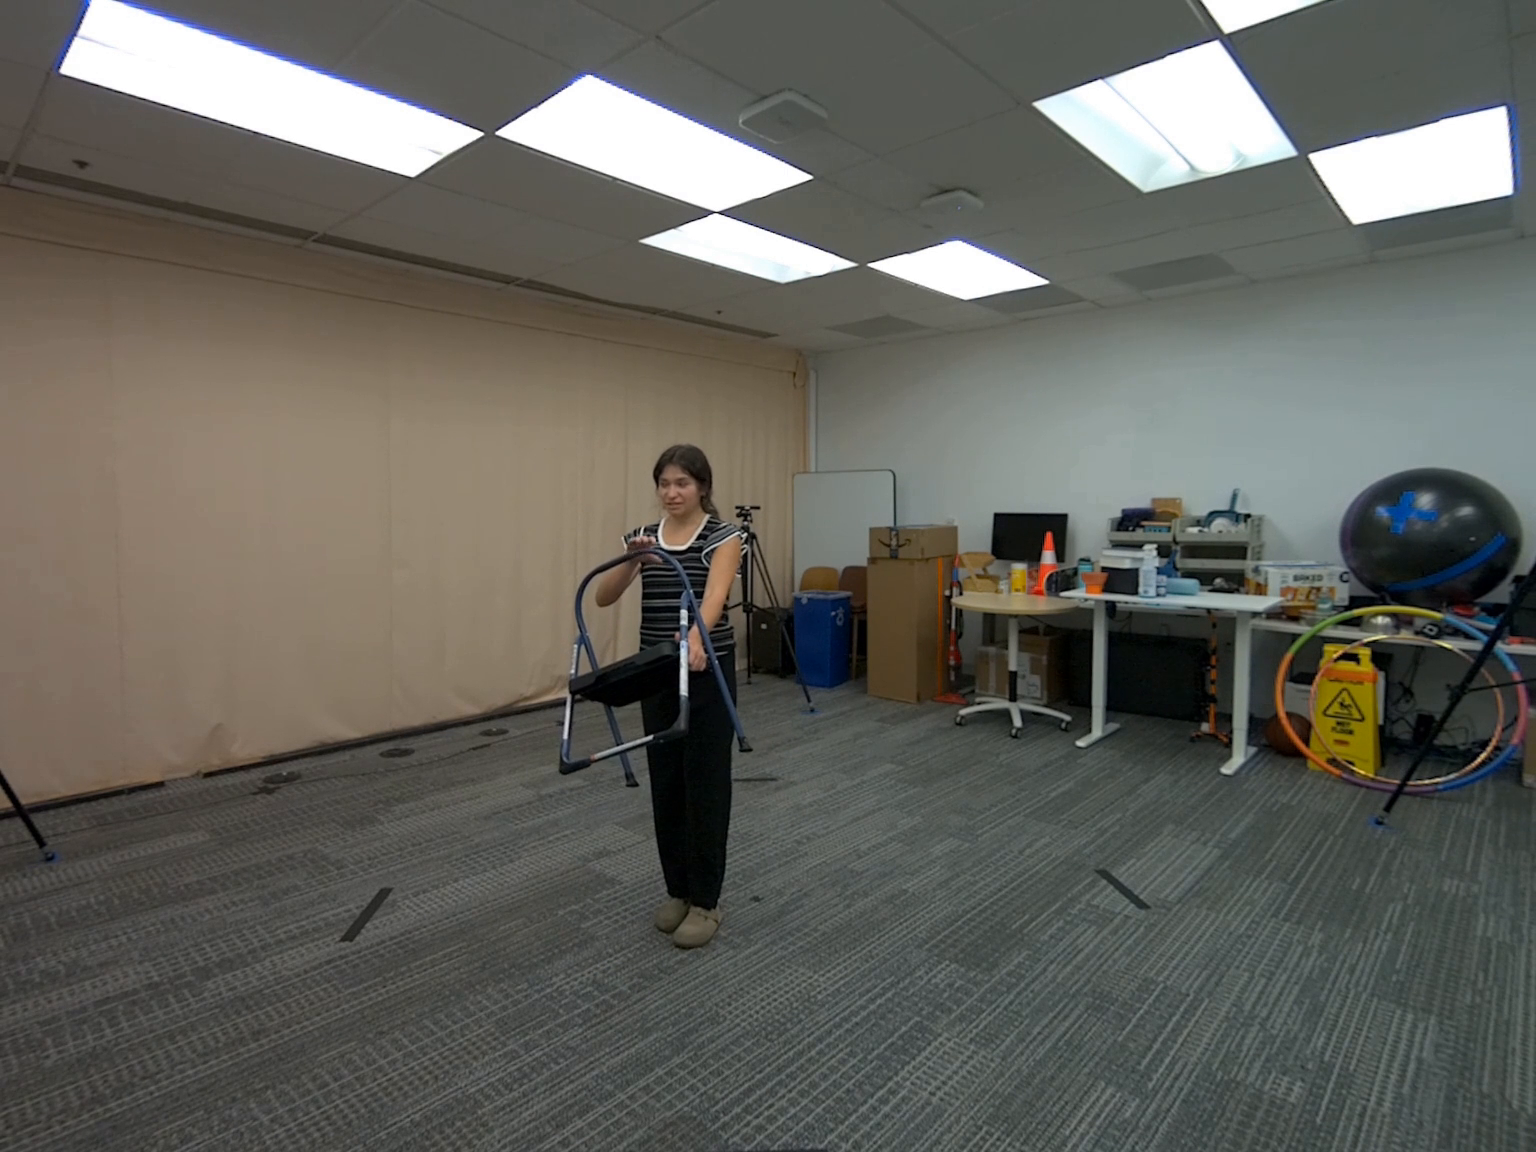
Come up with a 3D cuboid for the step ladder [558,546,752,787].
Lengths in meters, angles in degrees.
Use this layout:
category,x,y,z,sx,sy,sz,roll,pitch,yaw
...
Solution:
category,x,y,z,sx,sy,sz,roll,pitch,yaw
step ladder,-0.360,0.243,2.443,0.437,0.618,0.337,-23,-28,22
